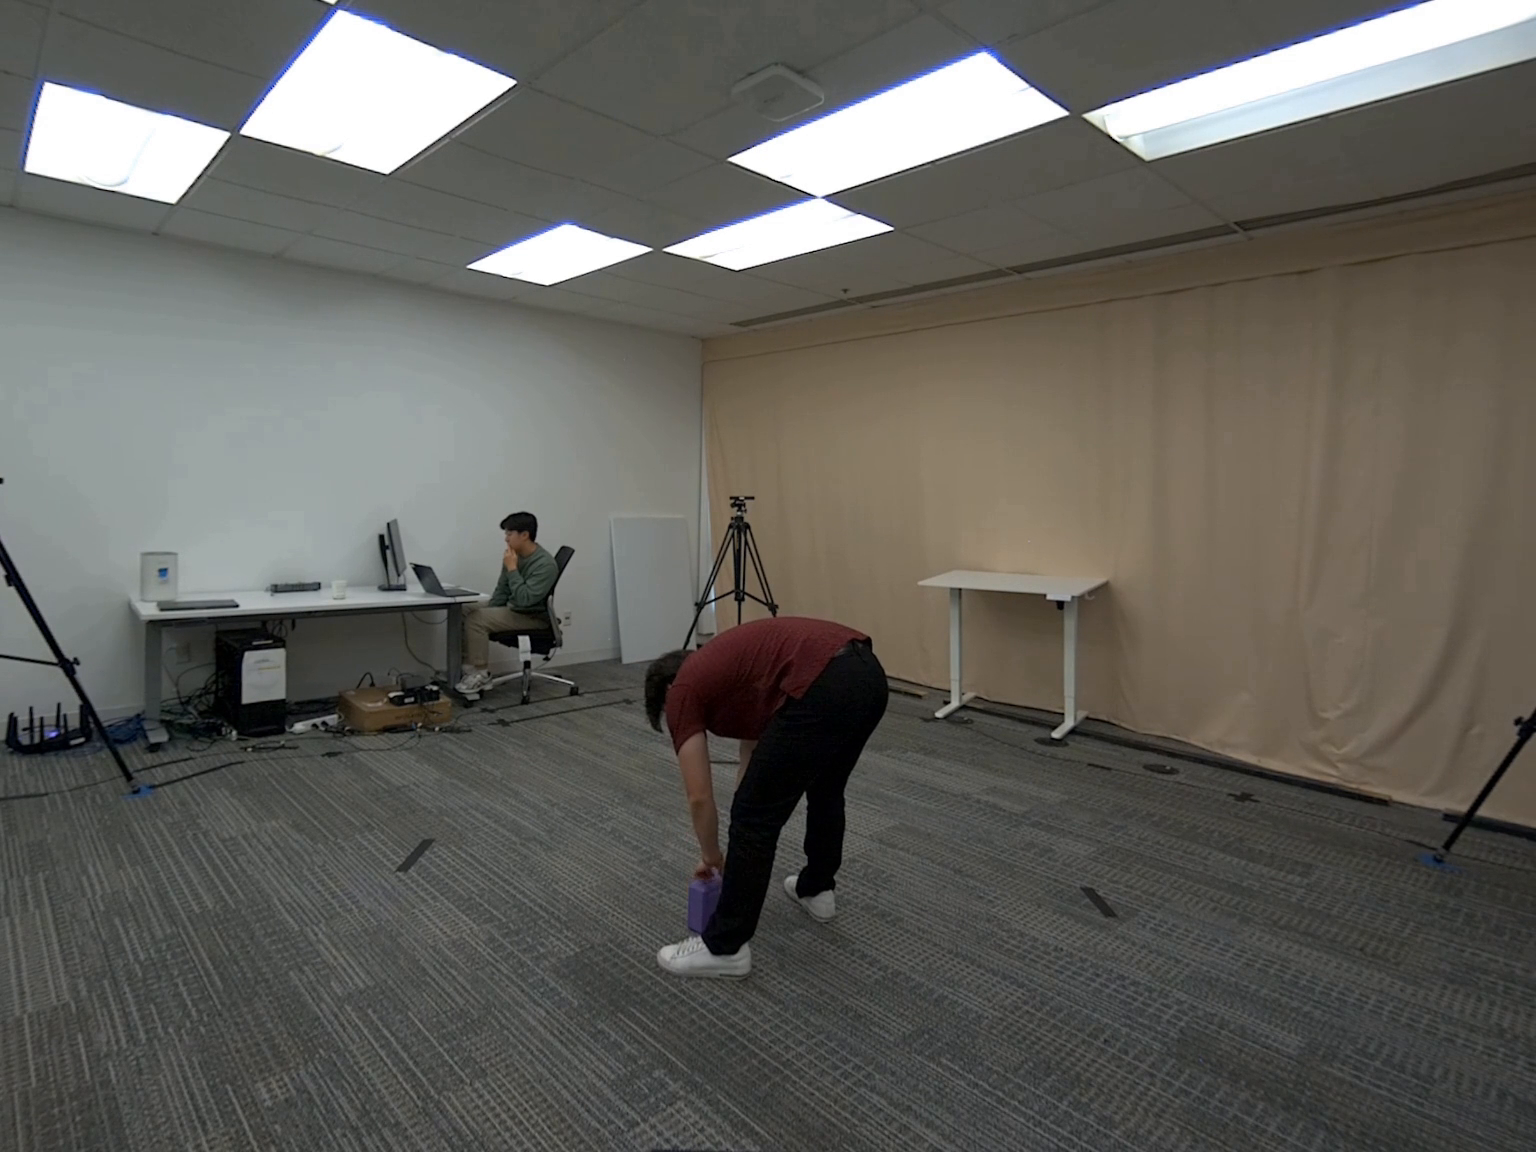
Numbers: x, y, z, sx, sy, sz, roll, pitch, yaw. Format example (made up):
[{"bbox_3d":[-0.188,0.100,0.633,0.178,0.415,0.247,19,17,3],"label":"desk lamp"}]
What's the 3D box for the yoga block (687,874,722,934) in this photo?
[{"bbox_3d":[-0.167,1.056,2.770,0.078,0.148,0.225,7,8,33],"label":"yoga block"}]
